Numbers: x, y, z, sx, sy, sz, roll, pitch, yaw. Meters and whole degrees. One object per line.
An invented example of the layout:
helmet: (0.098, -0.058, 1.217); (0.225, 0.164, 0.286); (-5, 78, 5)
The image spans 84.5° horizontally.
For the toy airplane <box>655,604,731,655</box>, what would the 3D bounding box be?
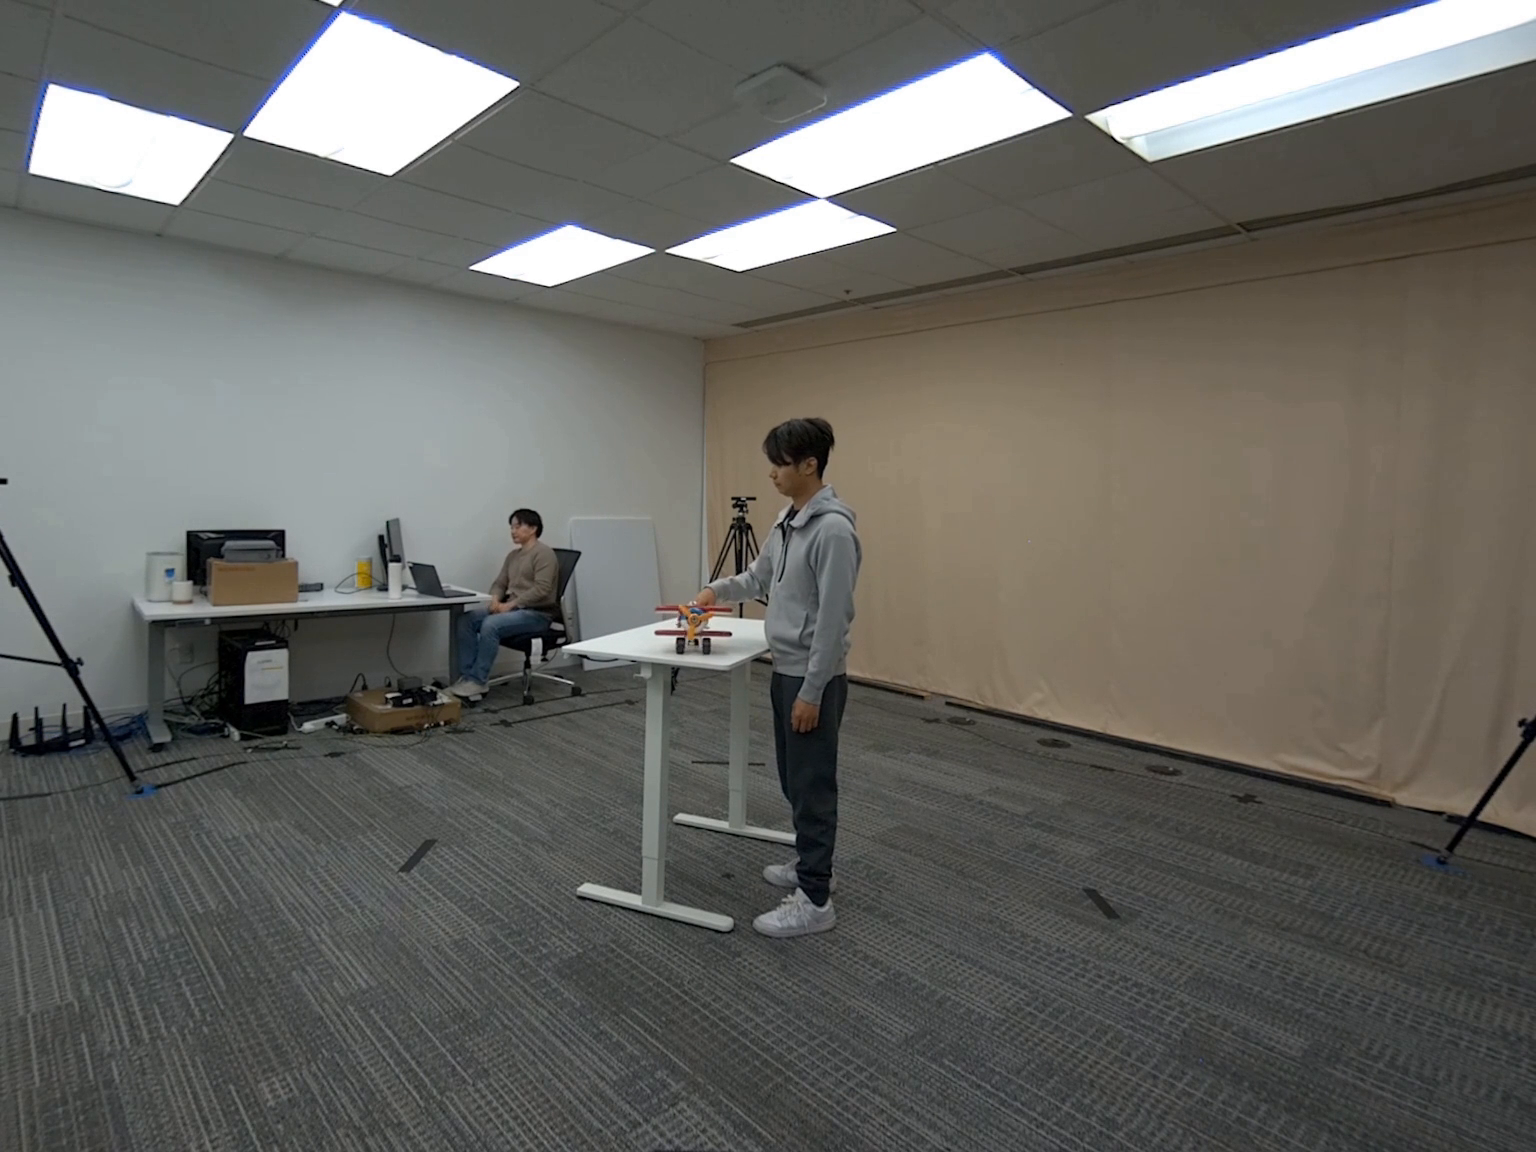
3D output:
toy airplane: (-0.272, 0.169, 2.807); (0.245, 0.156, 0.265); (0, 5, -34)
